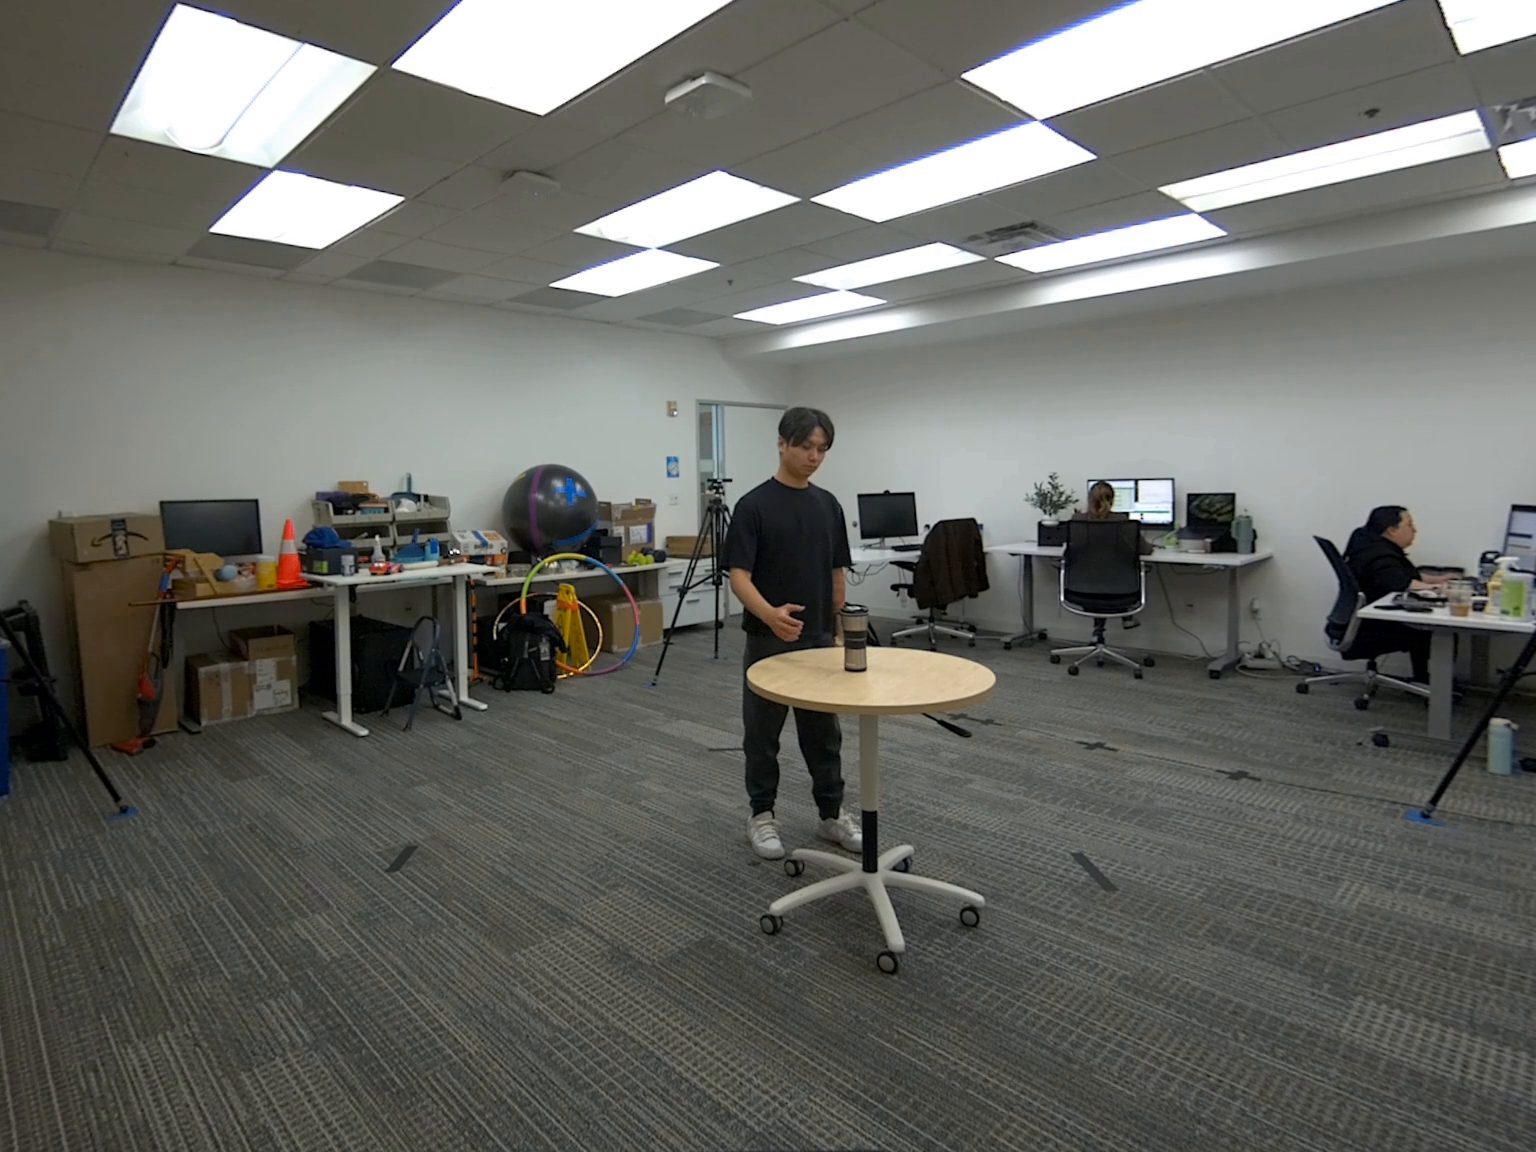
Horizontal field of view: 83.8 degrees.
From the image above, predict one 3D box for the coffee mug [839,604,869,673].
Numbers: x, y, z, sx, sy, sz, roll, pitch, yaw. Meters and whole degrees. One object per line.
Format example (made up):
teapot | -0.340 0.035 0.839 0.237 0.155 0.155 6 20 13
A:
coffee mug | 0.267 0.201 2.735 0.086 0.201 0.126 -7 9 -34
